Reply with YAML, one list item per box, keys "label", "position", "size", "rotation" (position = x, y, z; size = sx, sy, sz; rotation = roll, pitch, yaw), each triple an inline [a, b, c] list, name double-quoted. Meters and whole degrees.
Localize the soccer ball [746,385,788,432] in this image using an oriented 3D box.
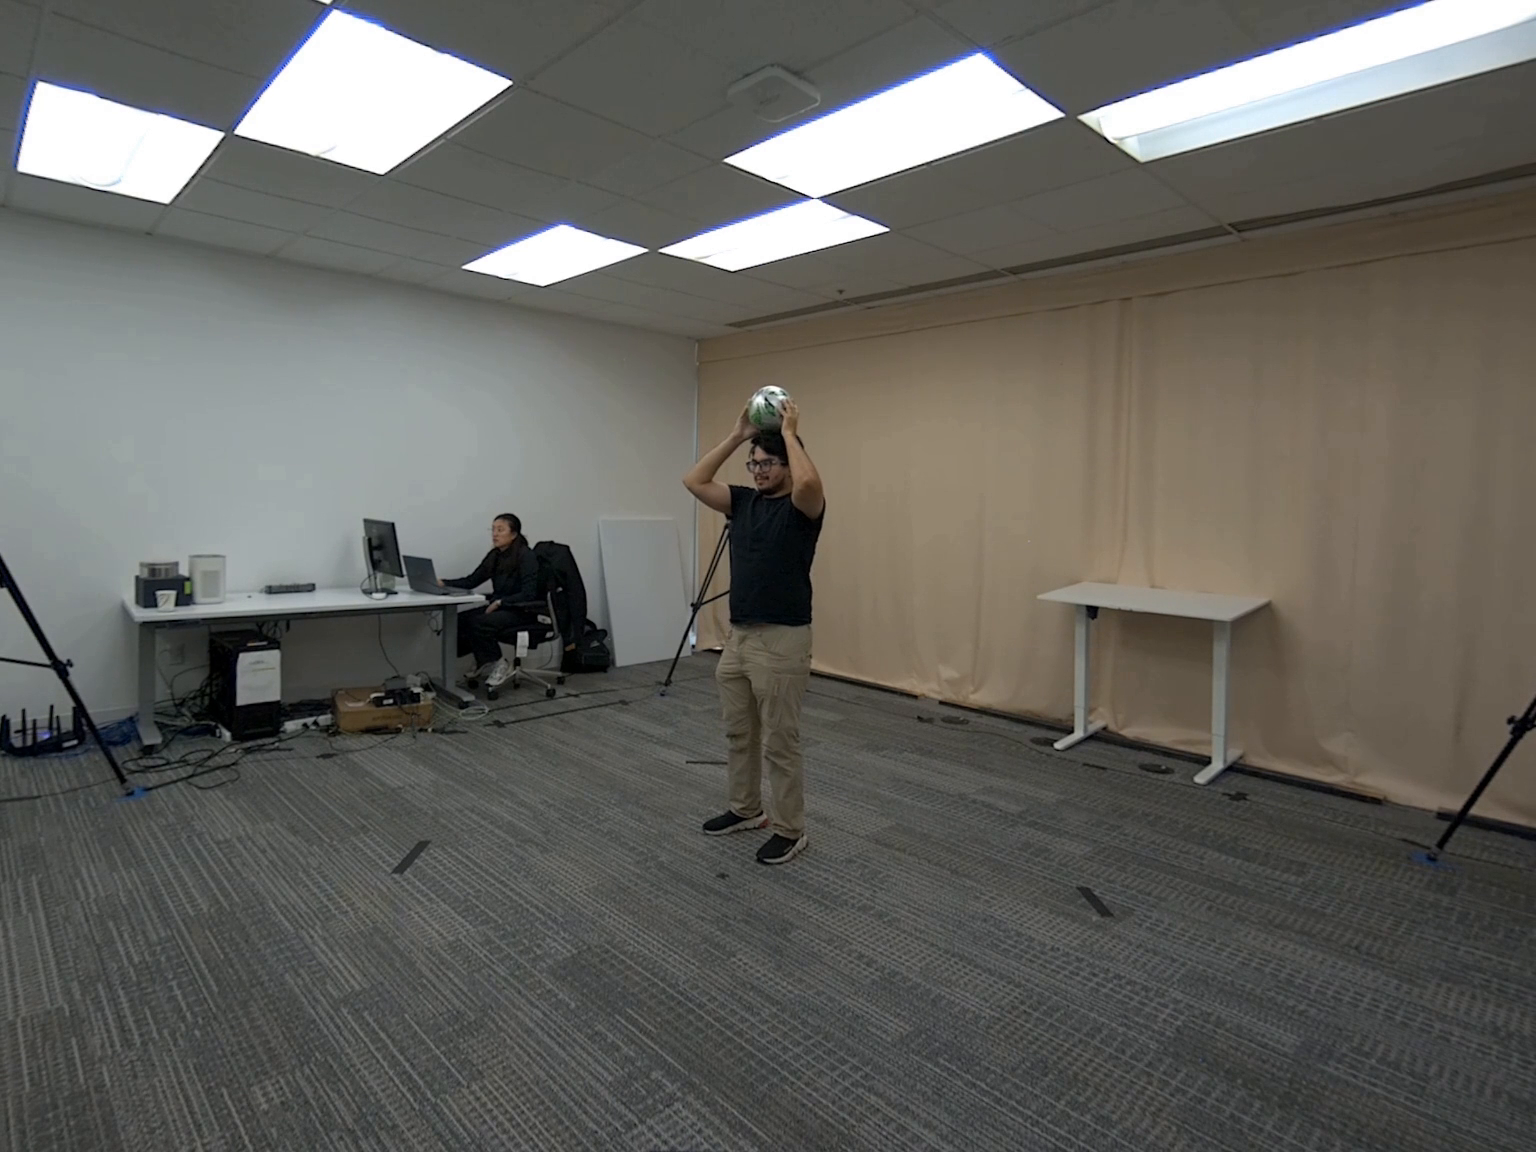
- label: "soccer ball"
  position: [0.010, -0.640, 3.269]
  size: [0.187, 0.187, 0.188]
  rotation: [1, 4, -1]
